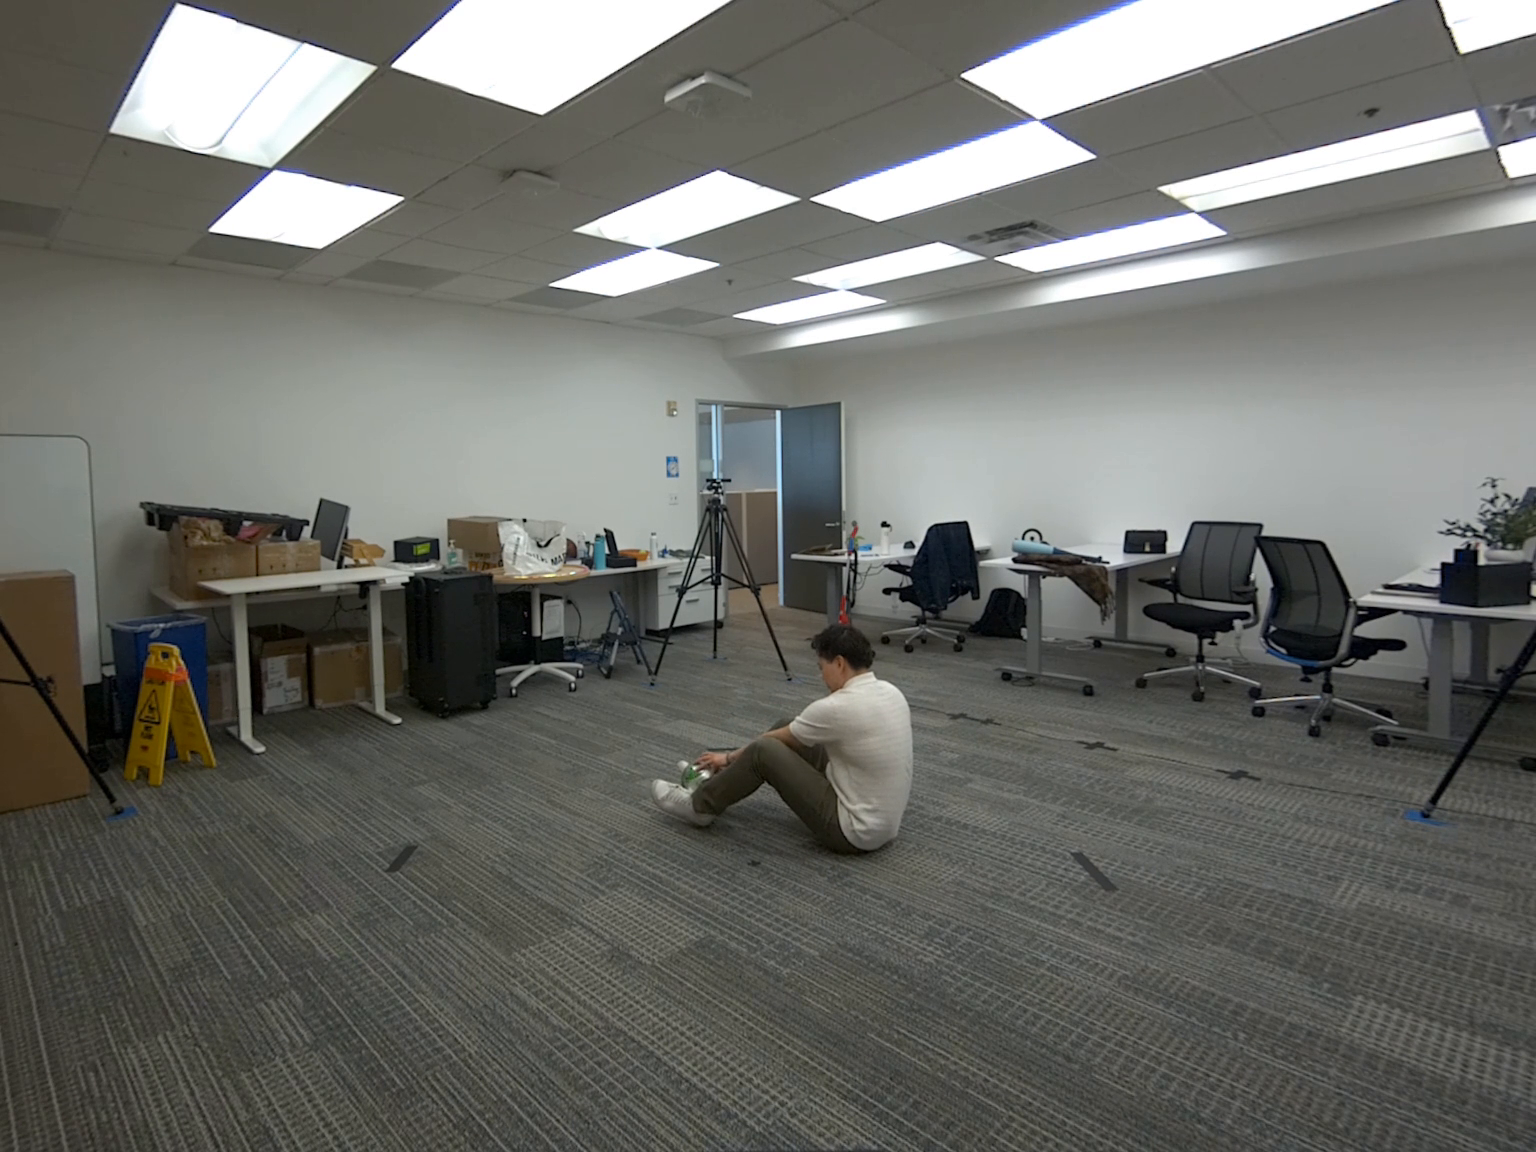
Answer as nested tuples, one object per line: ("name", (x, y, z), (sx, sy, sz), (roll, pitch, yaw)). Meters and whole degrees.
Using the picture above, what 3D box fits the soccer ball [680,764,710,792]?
("soccer ball", (-0.259, 0.853, 3.544), (0.187, 0.187, 0.188), (-1, 5, -2))
